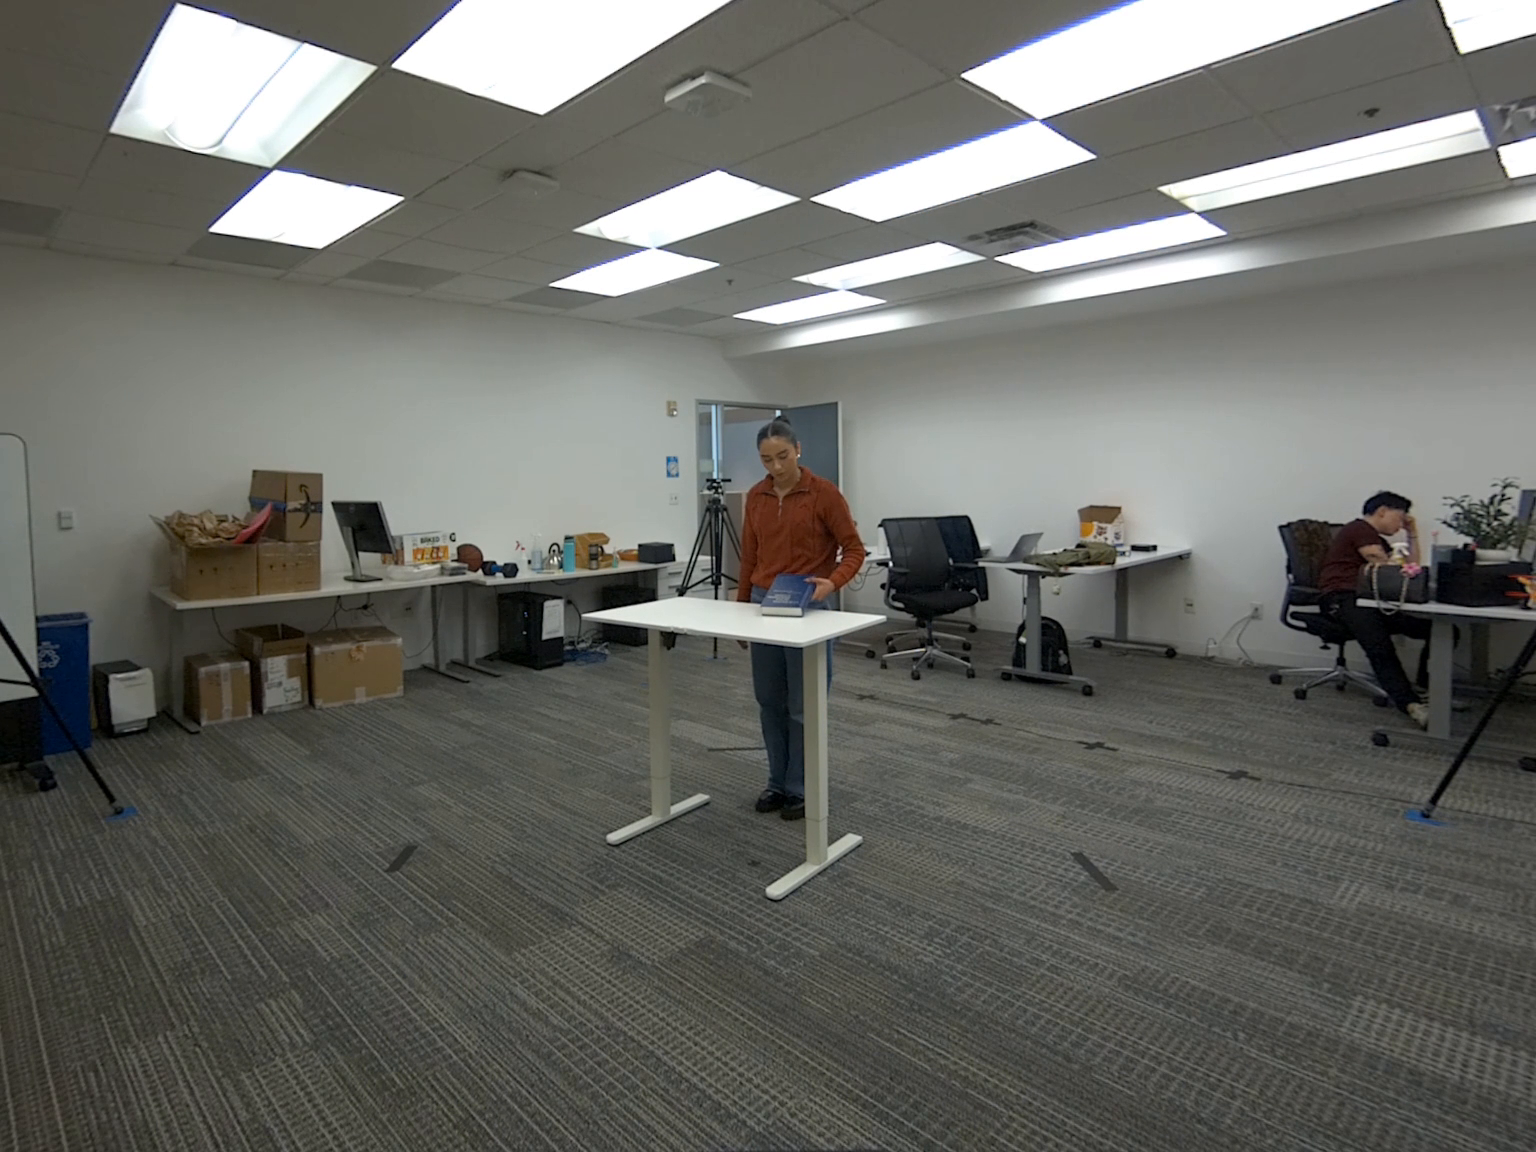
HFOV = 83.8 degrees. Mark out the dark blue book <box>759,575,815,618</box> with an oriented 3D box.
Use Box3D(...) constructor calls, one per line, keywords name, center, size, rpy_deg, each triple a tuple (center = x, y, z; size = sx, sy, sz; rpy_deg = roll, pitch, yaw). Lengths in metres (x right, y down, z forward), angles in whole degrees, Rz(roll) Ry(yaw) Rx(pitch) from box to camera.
Box3D(name="dark blue book", center=(0.075, 0.078, 3.278), size=(0.166, 0.044, 0.247), rpy_deg=(-2, 29, 15))
